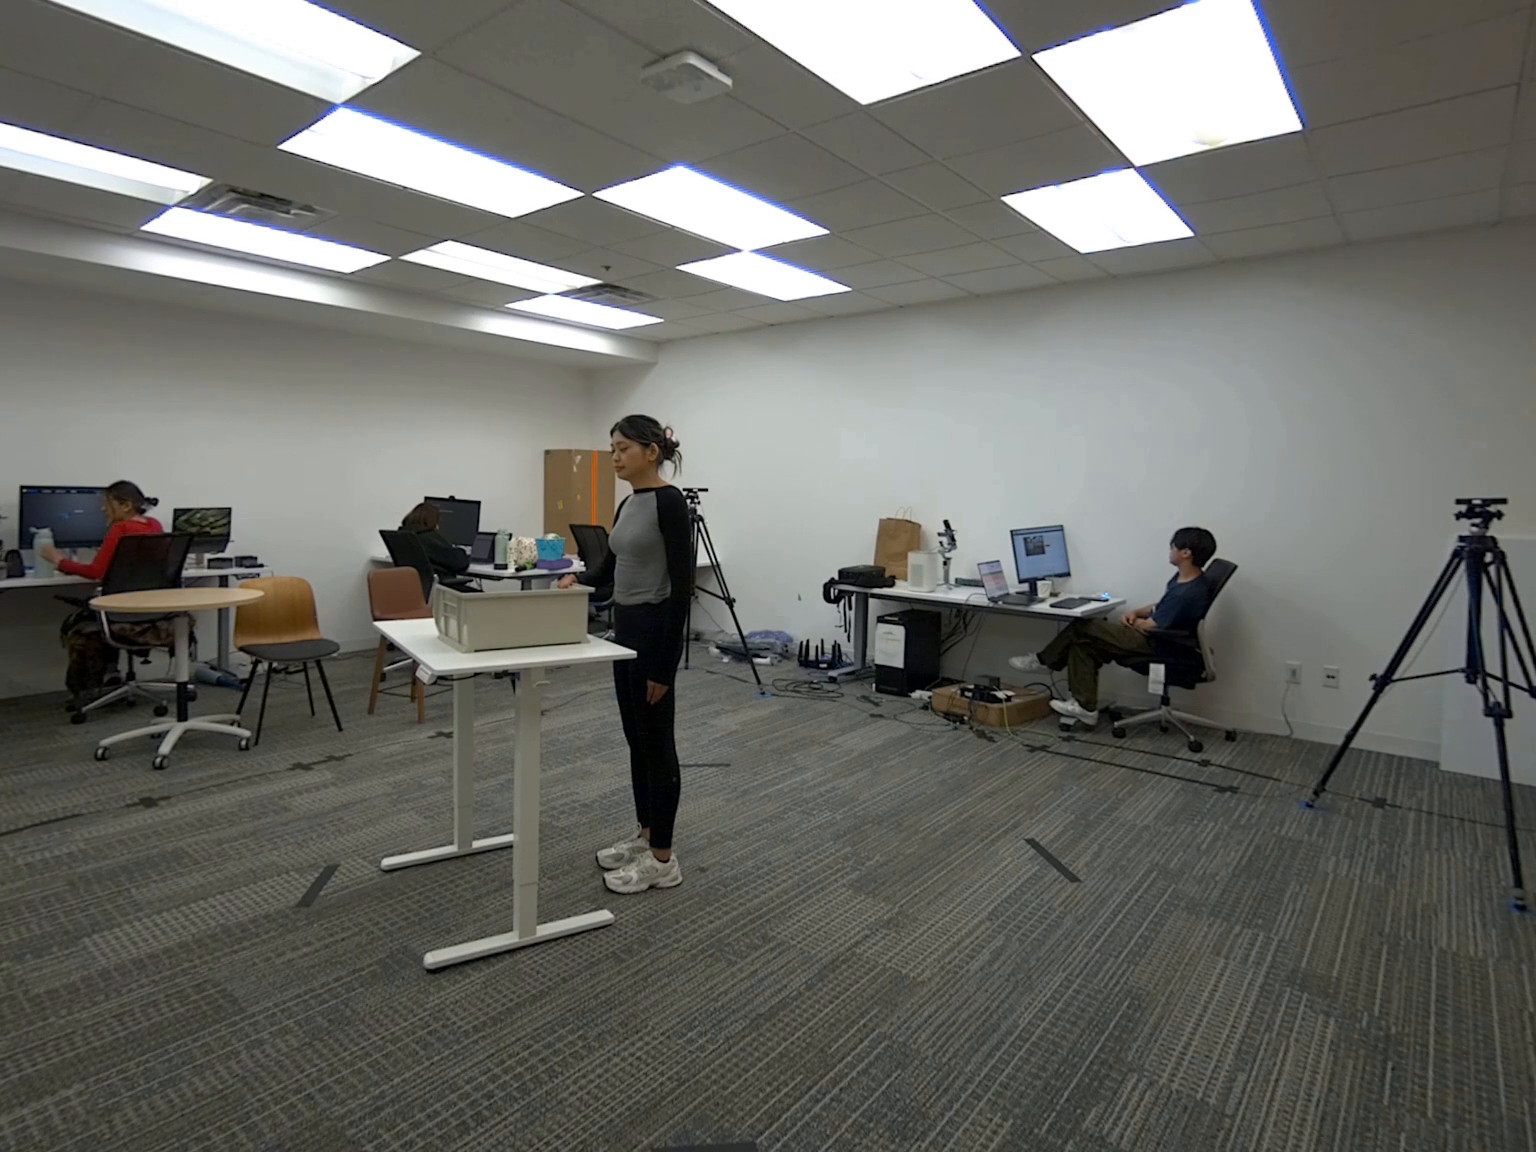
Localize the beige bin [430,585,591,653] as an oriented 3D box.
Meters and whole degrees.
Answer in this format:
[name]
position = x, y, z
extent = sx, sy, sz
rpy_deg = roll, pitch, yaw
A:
[beige bin]
position = -0.853, 0.123, 2.782
extent = 0.410, 0.188, 0.390
rpy_deg = -2, 6, -33
